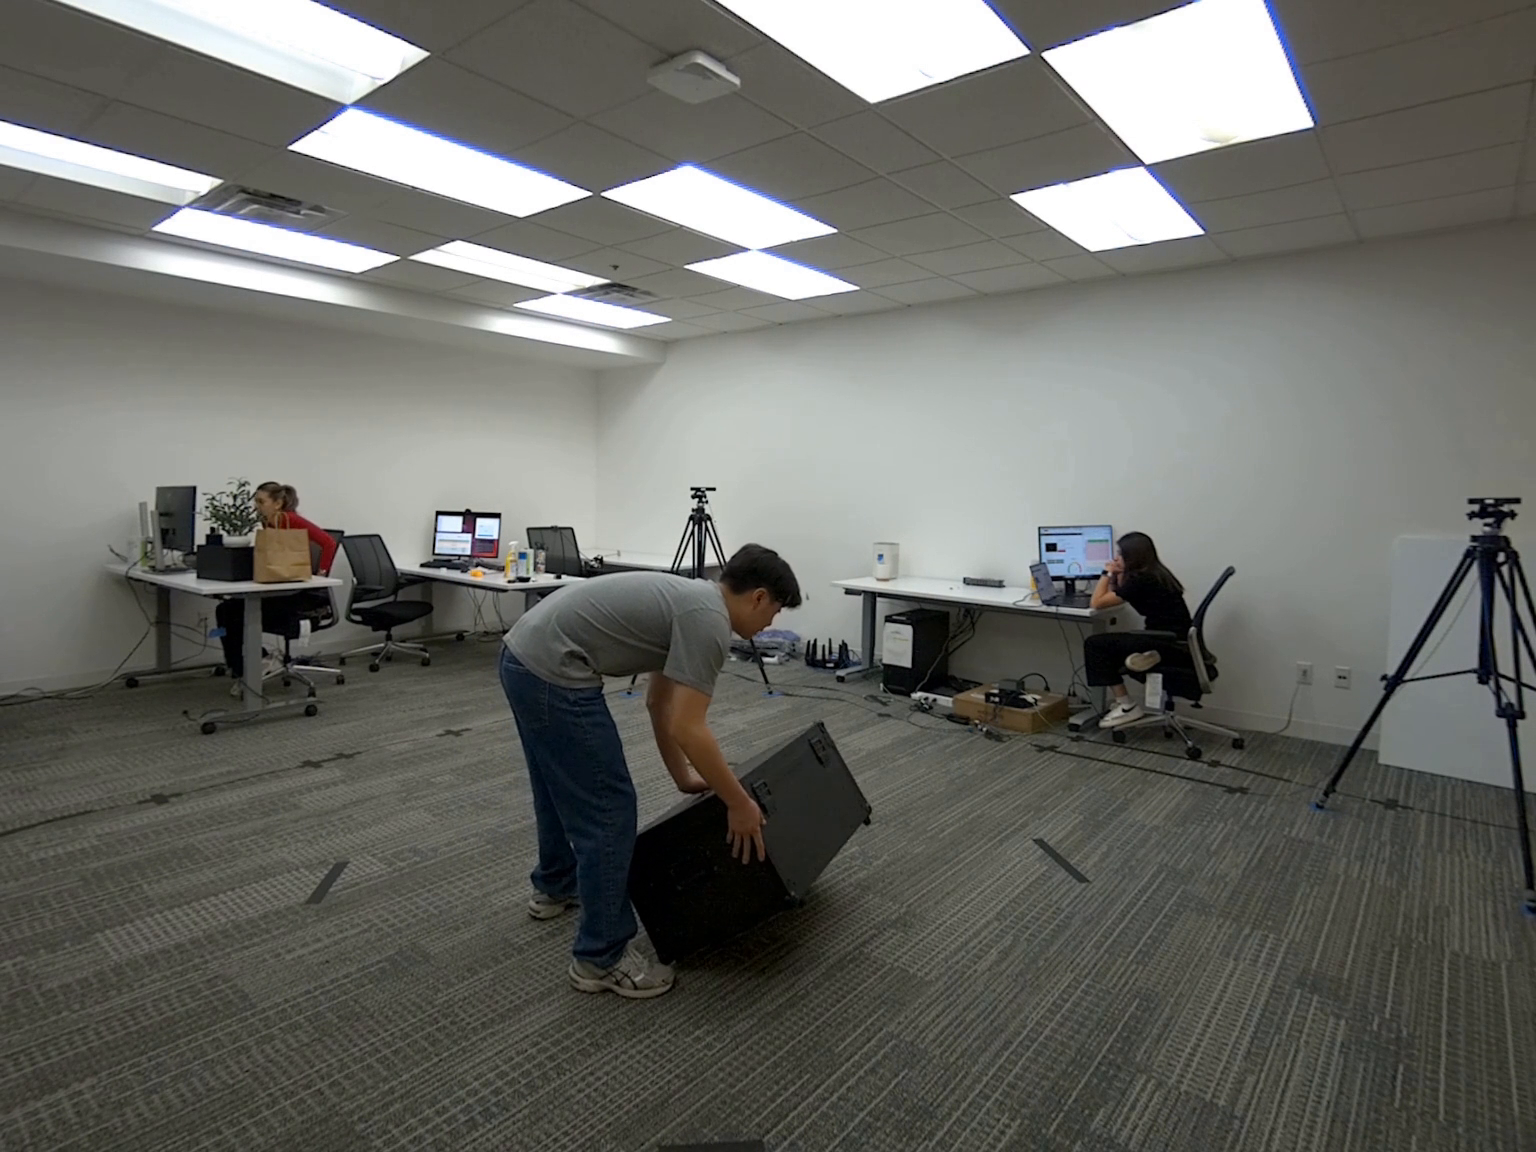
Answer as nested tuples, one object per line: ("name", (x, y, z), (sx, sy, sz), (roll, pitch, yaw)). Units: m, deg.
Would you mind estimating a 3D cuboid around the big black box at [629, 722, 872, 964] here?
("big black box", (-0.040, 0.820, 2.760), (0.524, 0.402, 0.844), (-35, -9, 21))
